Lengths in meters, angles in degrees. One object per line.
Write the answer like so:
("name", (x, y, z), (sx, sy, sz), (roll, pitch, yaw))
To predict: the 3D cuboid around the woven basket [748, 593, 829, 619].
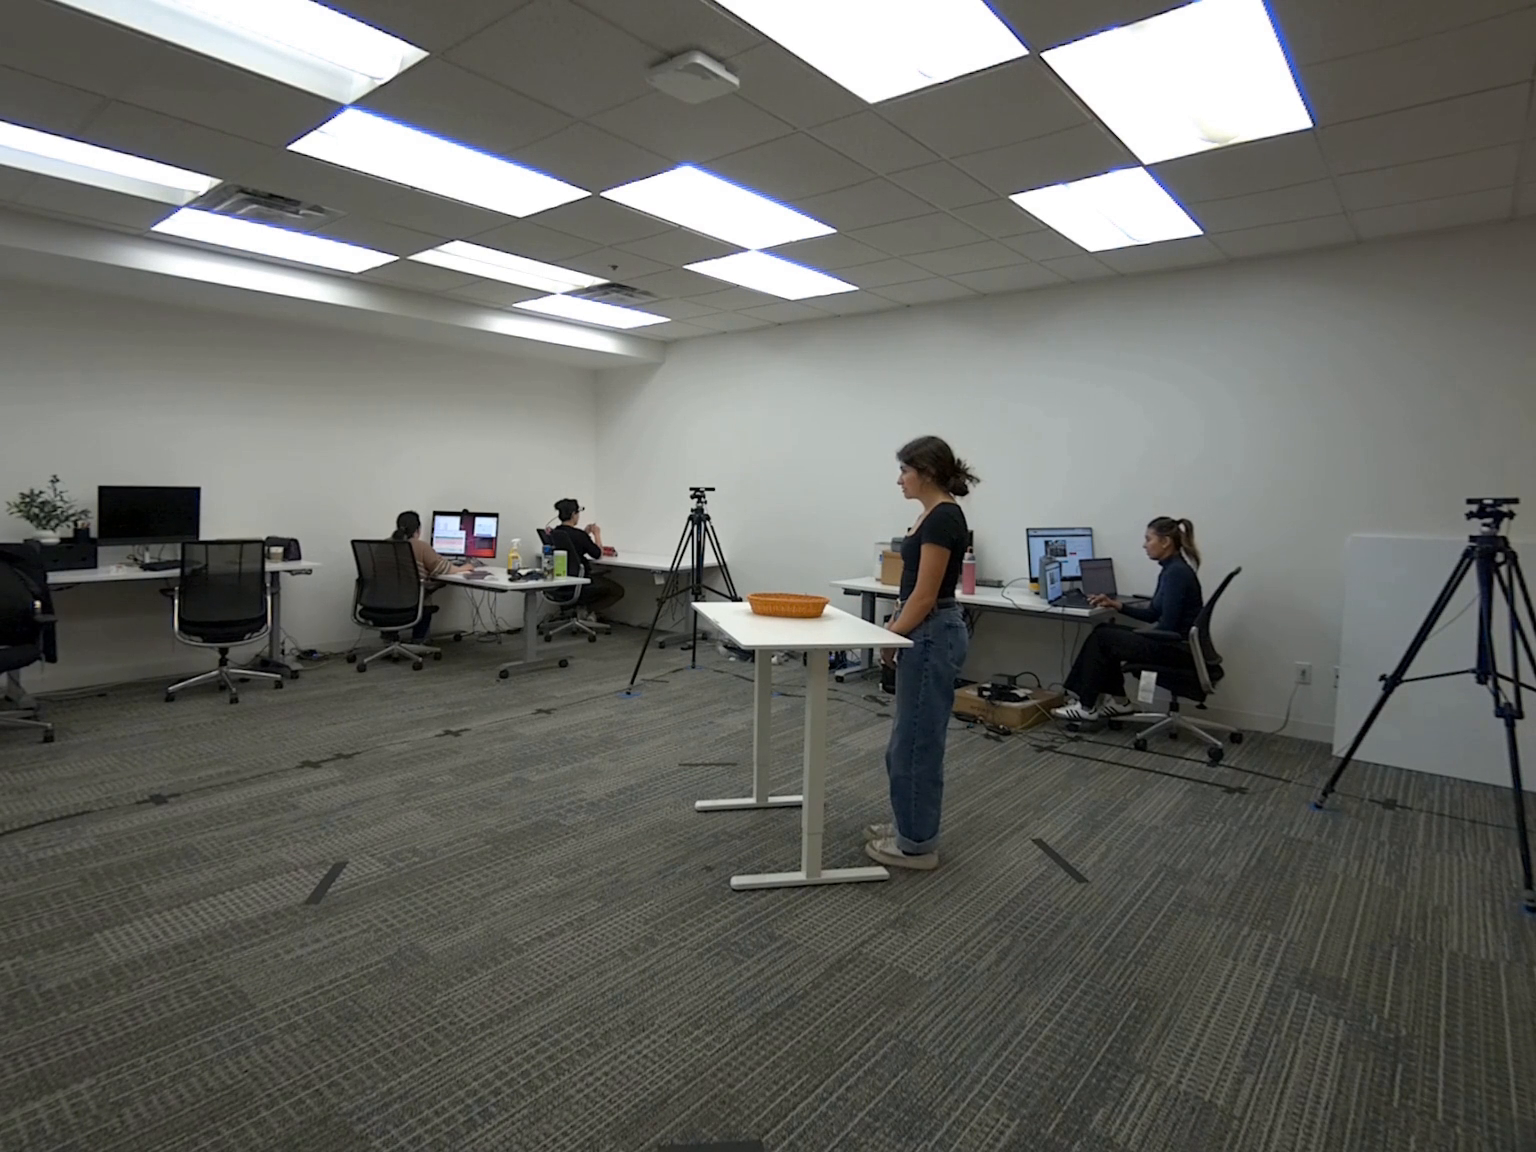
("woven basket", (0.069, 0.122, 3.491), (0.354, 0.073, 0.251), (3, 5, 8))
